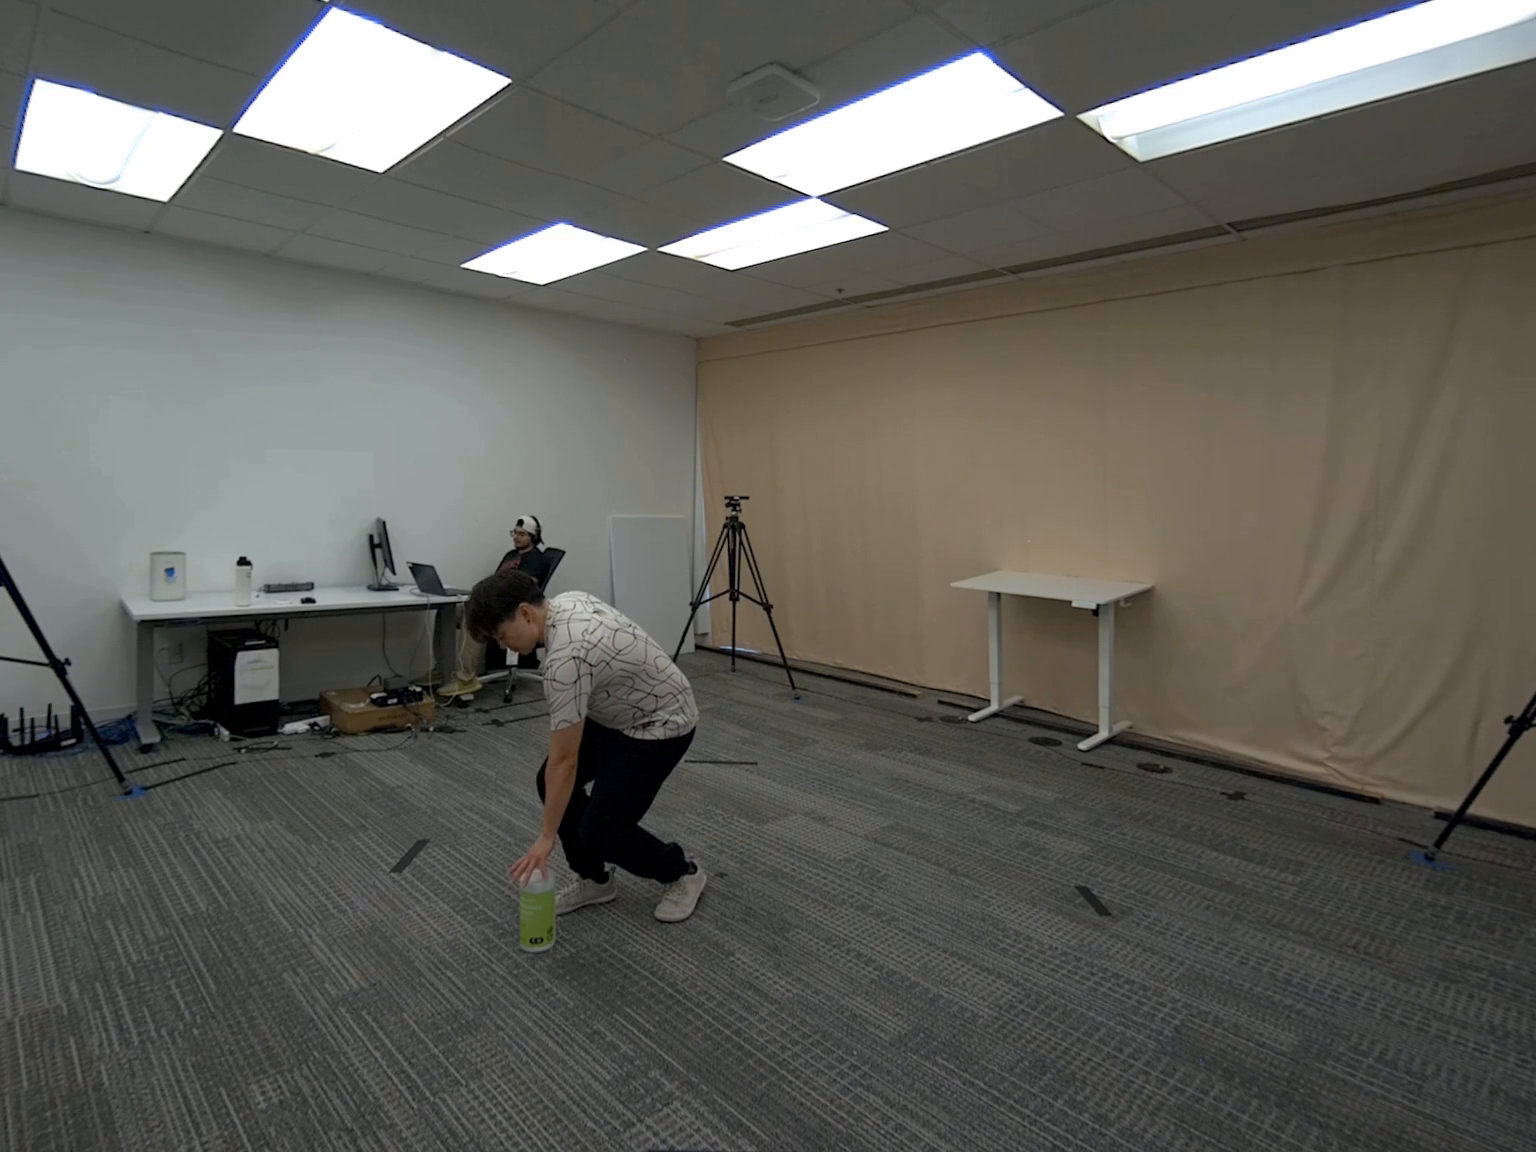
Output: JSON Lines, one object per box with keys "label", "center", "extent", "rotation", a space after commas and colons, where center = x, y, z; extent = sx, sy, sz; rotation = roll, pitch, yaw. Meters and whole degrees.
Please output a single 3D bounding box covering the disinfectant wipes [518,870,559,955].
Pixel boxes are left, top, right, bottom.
{"label": "disinfectant wipes", "center": [-0.728, 1.042, 2.590], "extent": [0.118, 0.217, 0.118], "rotation": [1, 4, -1]}
